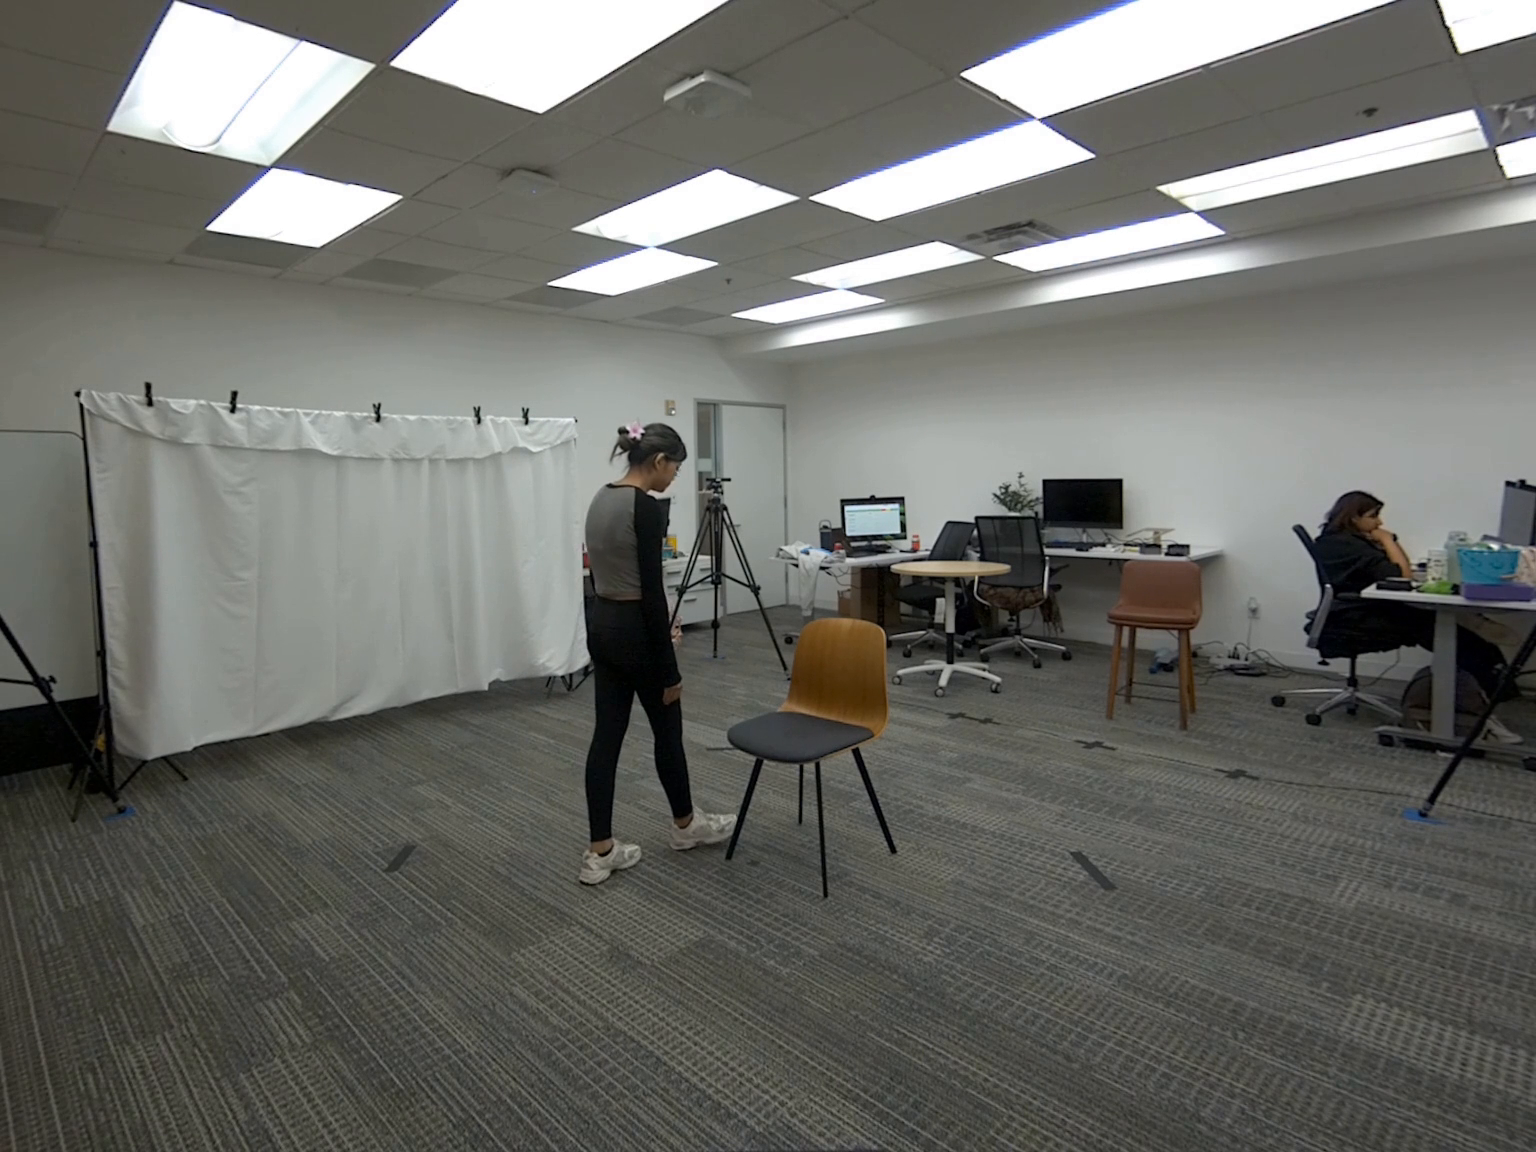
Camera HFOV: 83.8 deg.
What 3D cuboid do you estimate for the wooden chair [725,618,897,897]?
[{"bbox_3d":[0.147,0.607,3.109,0.492,0.877,0.508,3,1,41],"label":"wooden chair"}]
